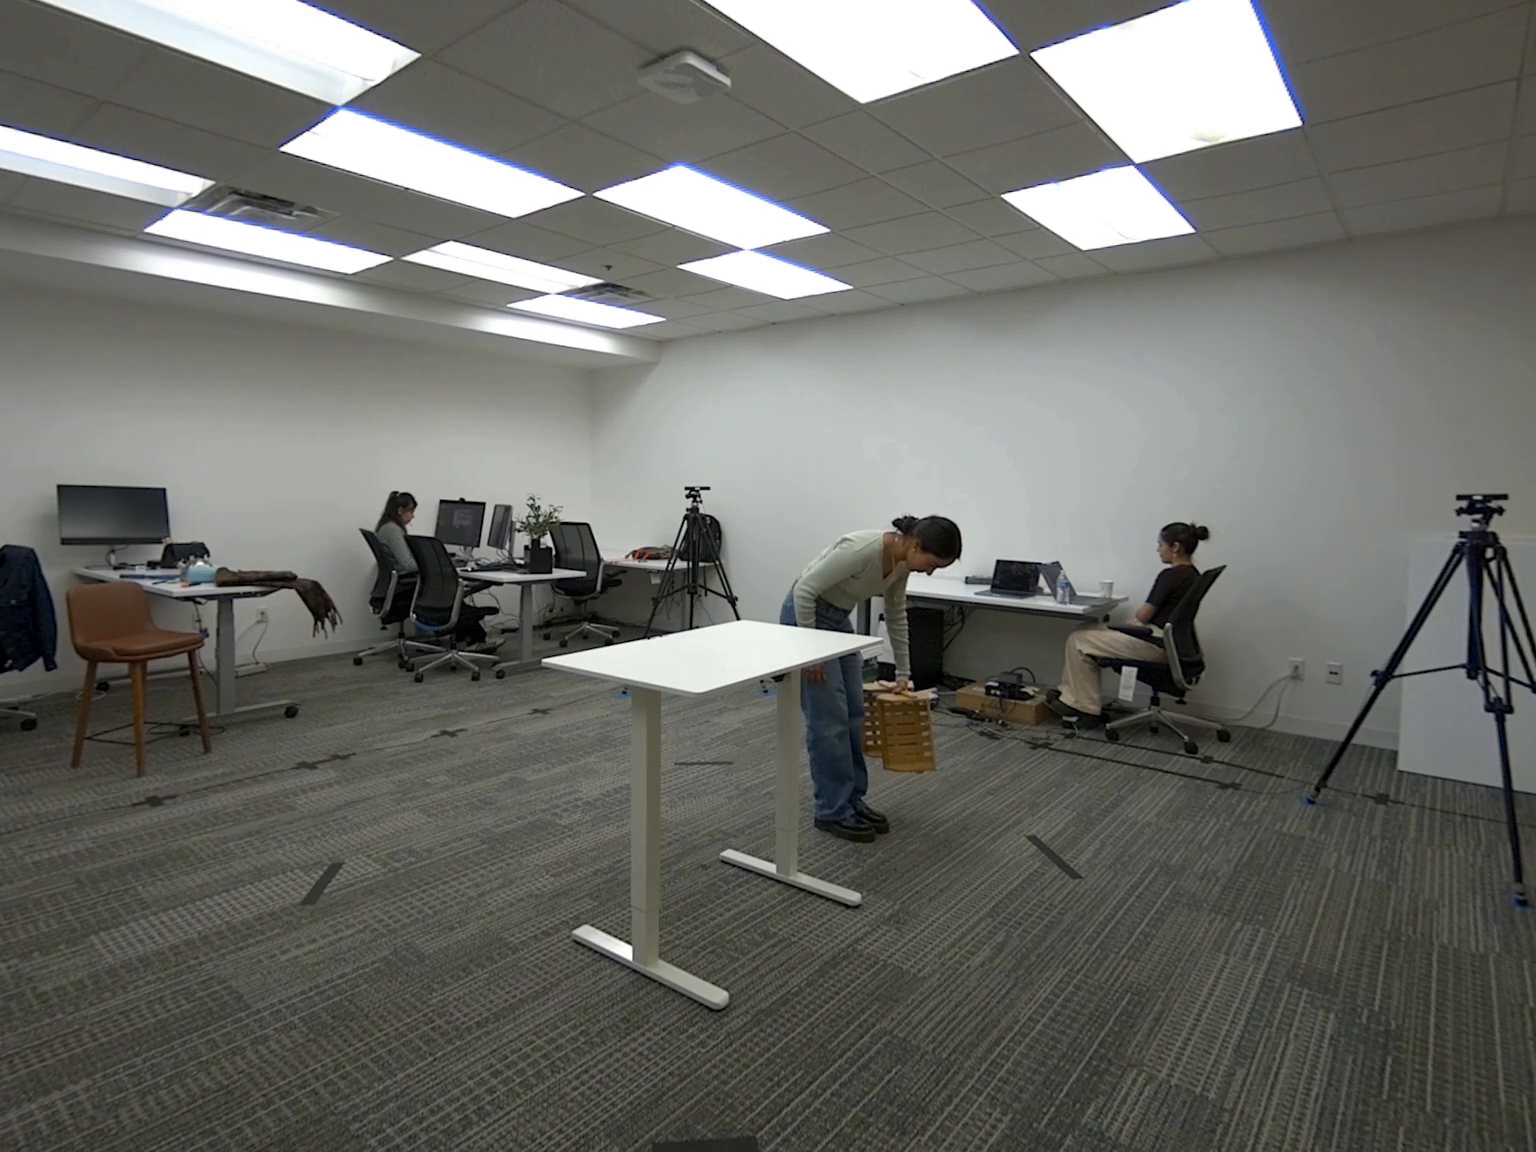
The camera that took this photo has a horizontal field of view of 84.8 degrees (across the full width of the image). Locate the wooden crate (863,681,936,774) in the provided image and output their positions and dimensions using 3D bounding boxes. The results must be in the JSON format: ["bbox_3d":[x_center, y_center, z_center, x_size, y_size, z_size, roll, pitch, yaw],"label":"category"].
[{"bbox_3d":[0.522,0.634,3.564,0.305,0.323,0.272,-5,5,9],"label":"wooden crate"}]
